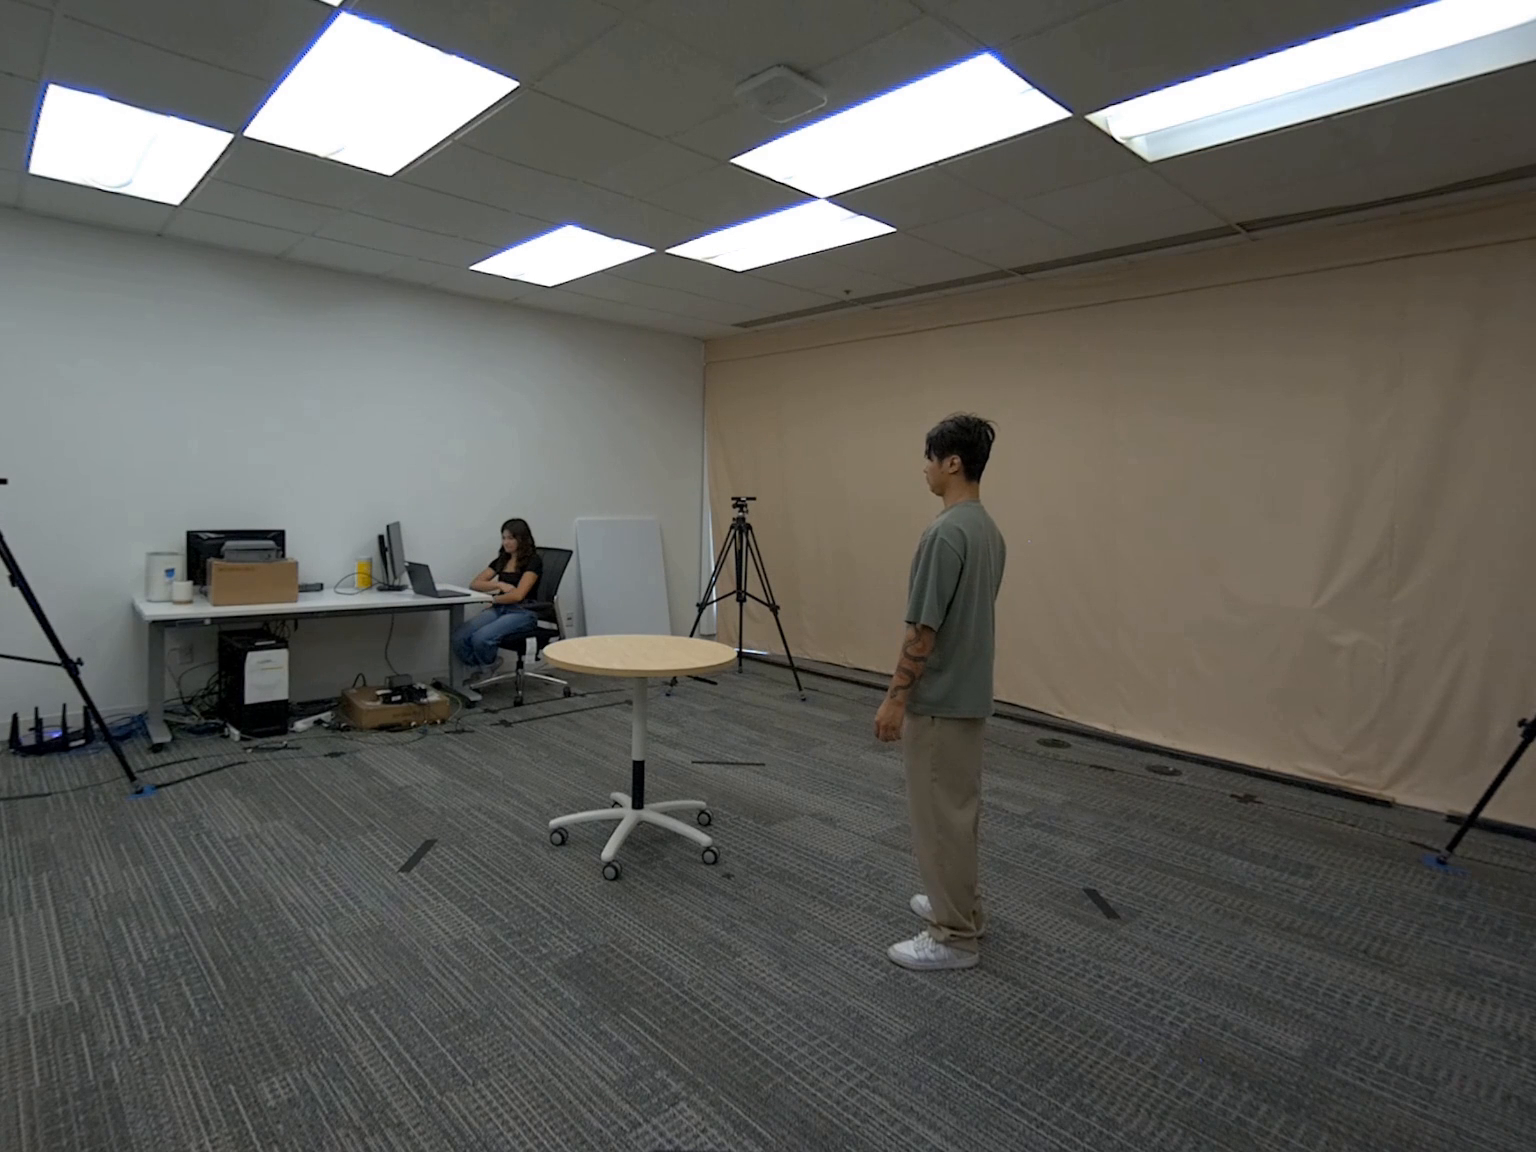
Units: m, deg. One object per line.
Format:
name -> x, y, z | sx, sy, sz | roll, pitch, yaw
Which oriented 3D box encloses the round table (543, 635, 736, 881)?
round table -> -0.524, 0.685, 3.358 | 0.784, 0.785, 0.787 | 2, 4, -1
